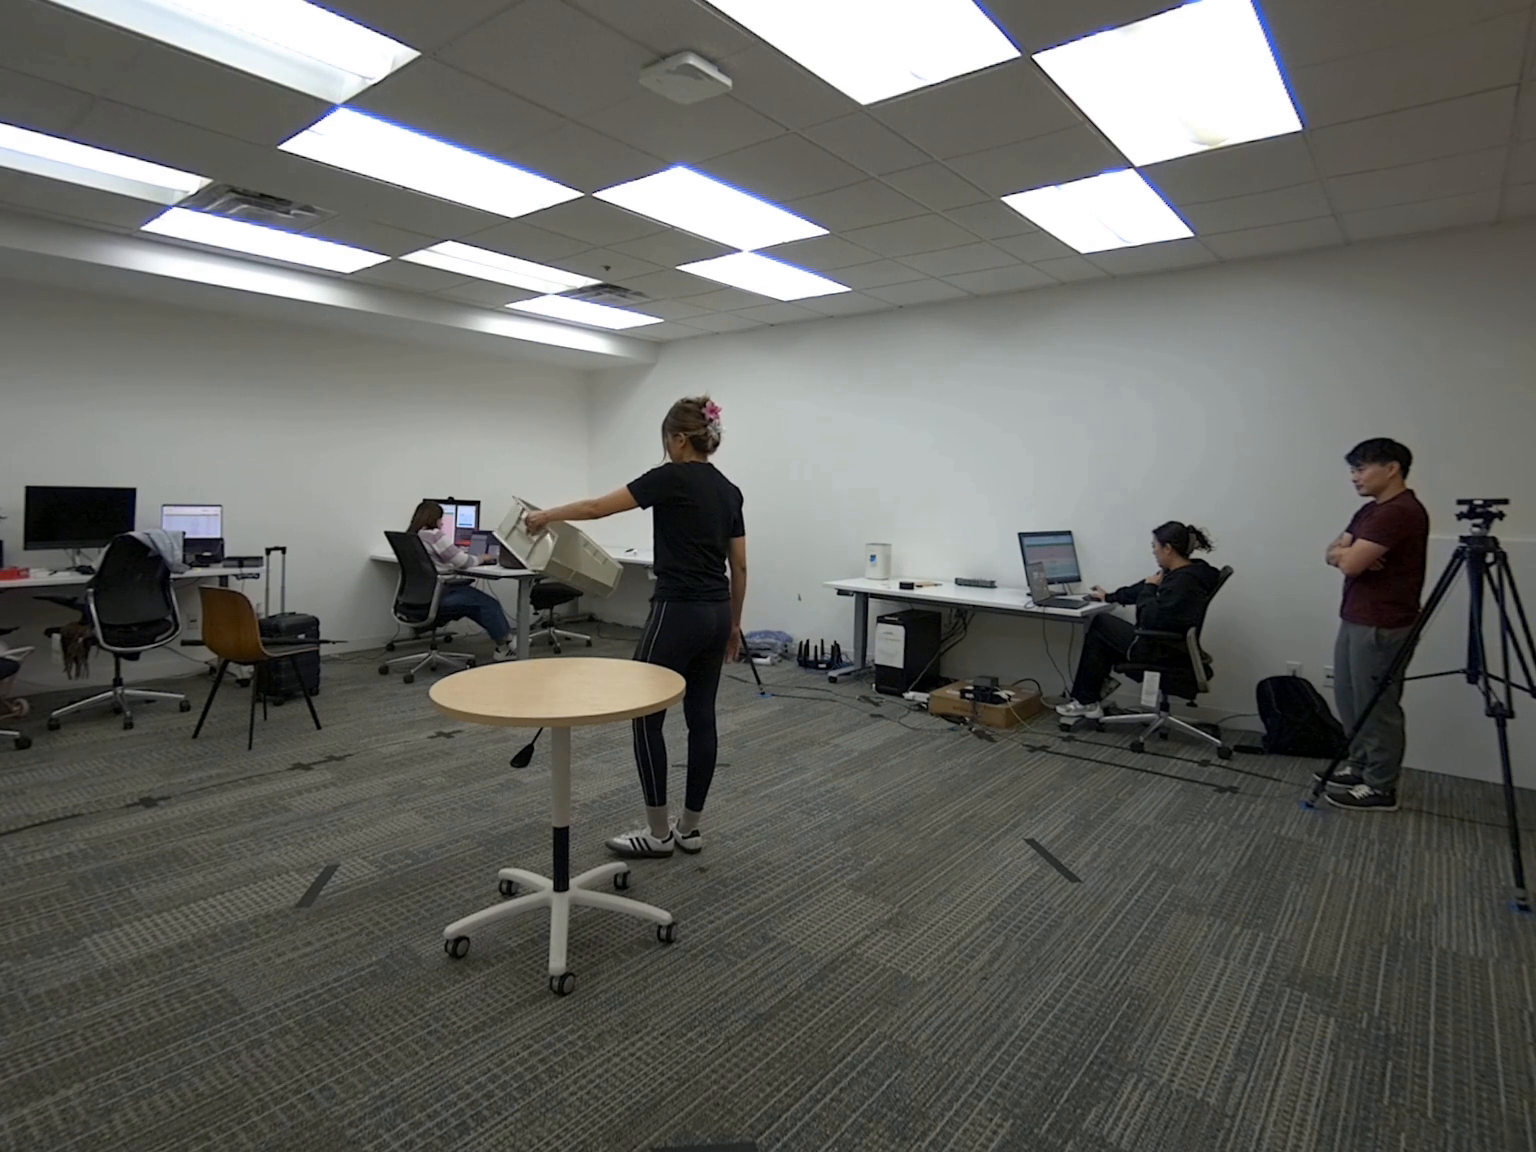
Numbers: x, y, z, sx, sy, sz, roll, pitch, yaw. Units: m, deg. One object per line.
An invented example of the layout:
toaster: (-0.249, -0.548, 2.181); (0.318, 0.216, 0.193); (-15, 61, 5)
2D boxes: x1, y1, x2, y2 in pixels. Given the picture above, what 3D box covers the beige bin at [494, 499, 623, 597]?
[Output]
beige bin: (-0.877, -0.100, 3.524); (0.393, 0.189, 0.405); (36, 3, 35)
